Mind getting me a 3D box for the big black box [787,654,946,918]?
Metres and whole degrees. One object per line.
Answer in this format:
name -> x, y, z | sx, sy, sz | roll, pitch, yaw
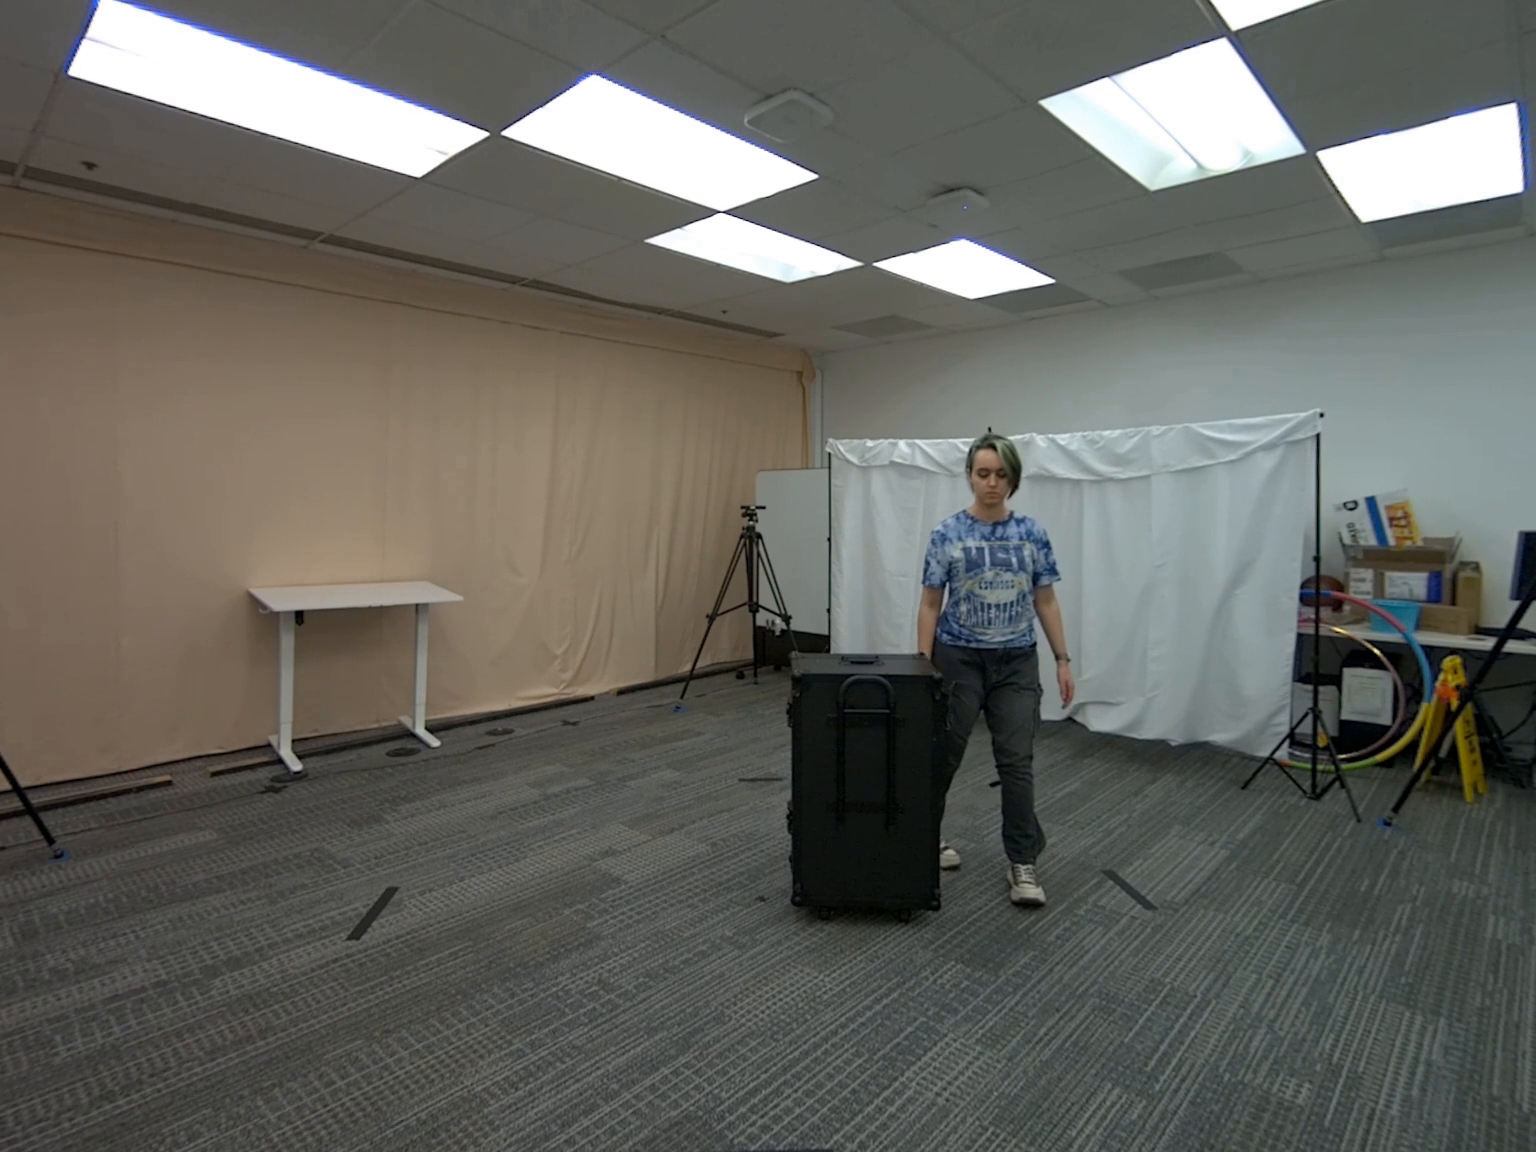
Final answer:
big black box -> 0.328, 0.727, 2.901 | 0.524, 0.858, 0.396 | 0, 5, 4
